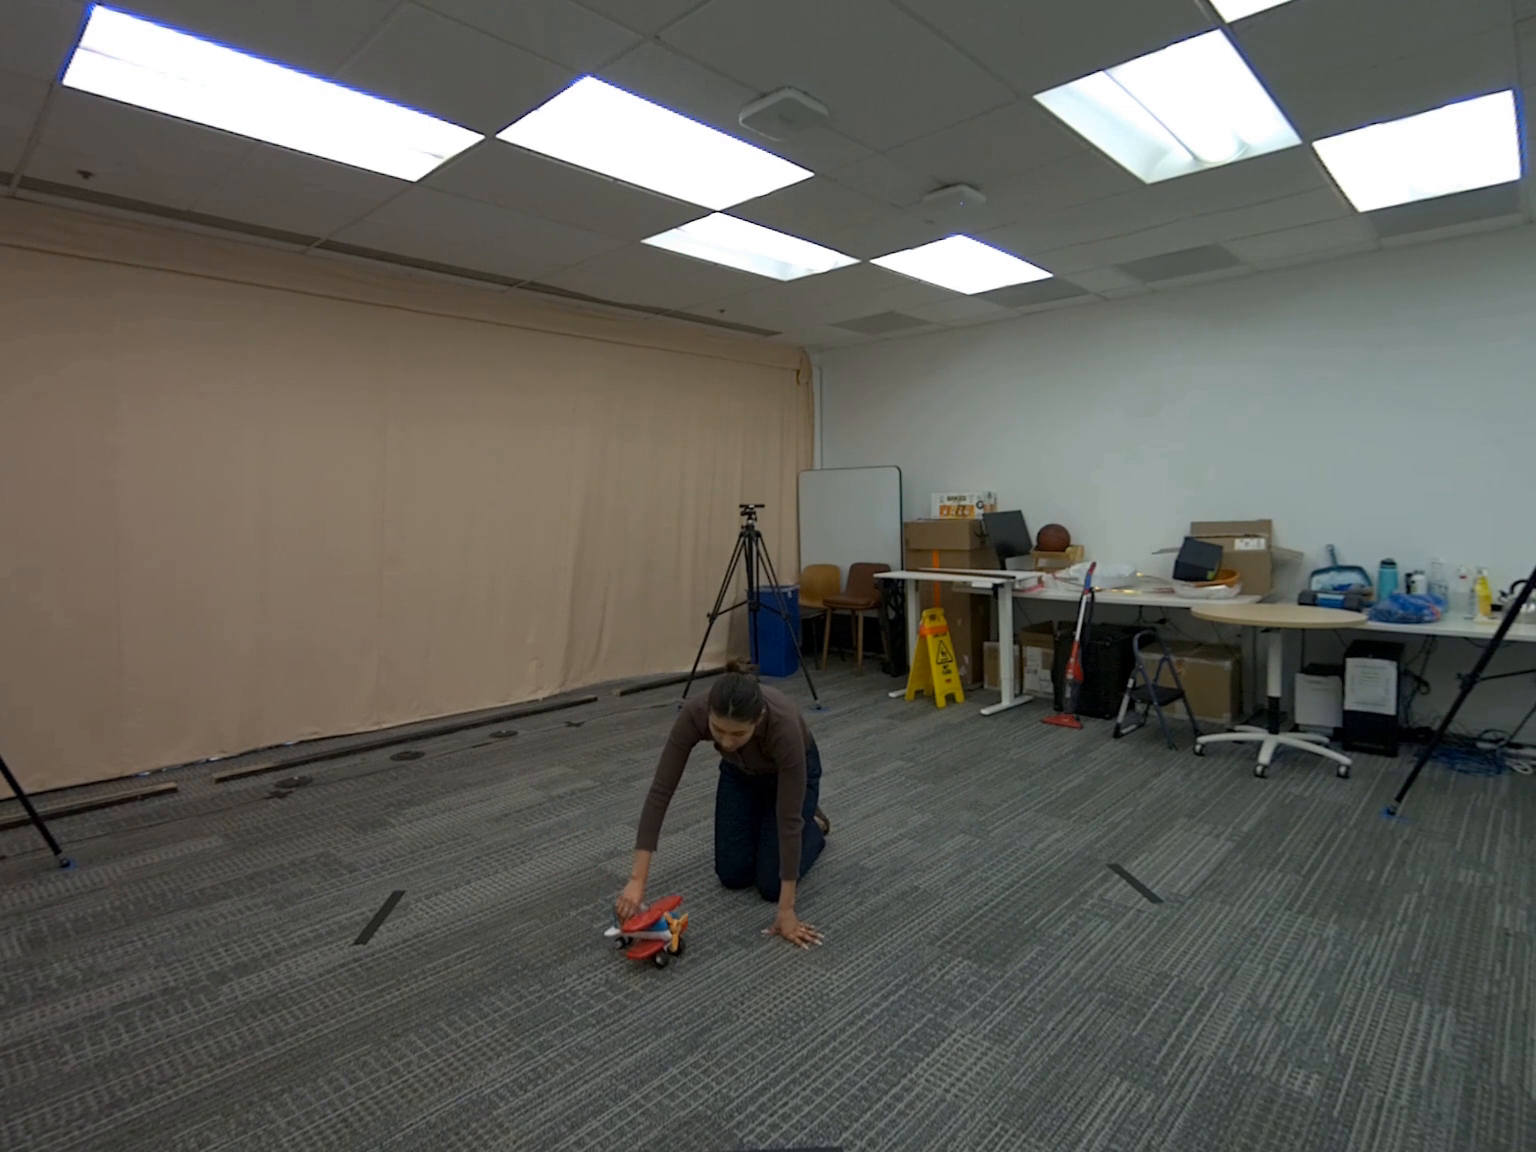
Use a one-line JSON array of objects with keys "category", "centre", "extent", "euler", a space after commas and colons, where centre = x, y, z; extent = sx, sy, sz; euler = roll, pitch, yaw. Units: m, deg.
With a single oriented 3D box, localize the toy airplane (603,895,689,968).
[{"category": "toy airplane", "centre": [-0.383, 1.106, 2.602], "extent": [0.260, 0.156, 0.251], "euler": [1, 5, 3]}]
